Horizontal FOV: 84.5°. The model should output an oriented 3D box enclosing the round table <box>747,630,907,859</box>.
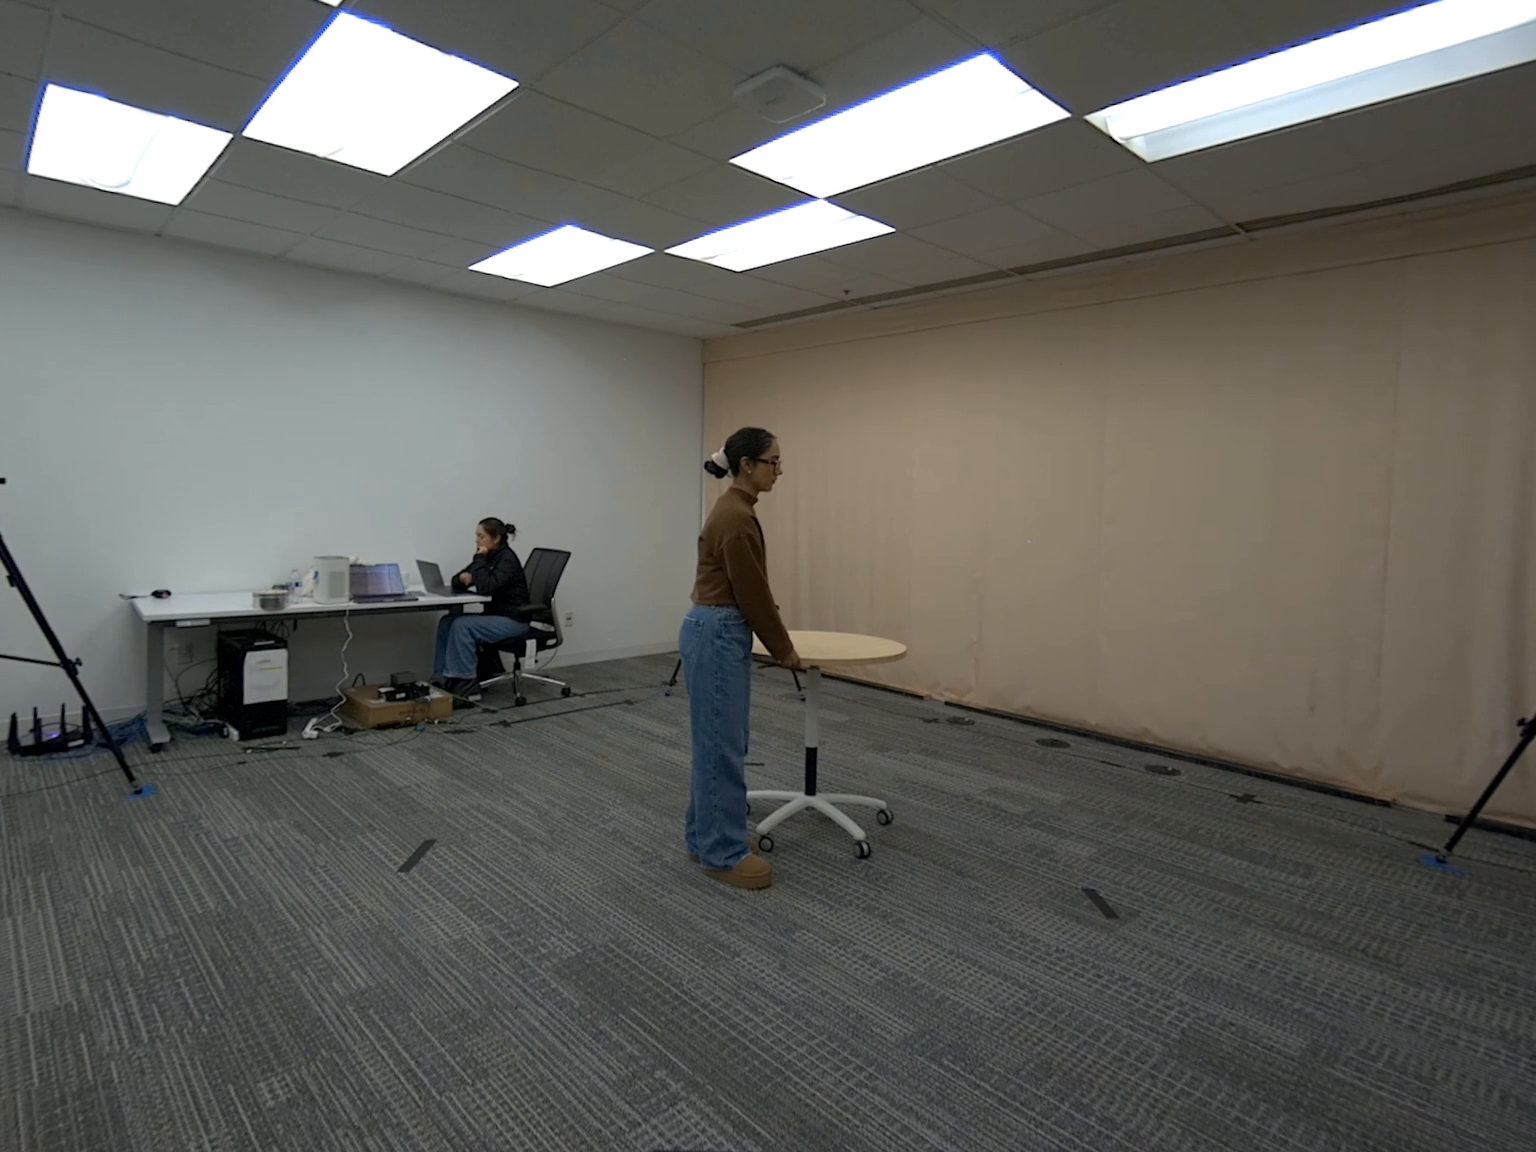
[{"bbox_3d":[0.191,0.680,3.562,0.784,0.785,0.787,1,3,-1],"label":"round table"}]
